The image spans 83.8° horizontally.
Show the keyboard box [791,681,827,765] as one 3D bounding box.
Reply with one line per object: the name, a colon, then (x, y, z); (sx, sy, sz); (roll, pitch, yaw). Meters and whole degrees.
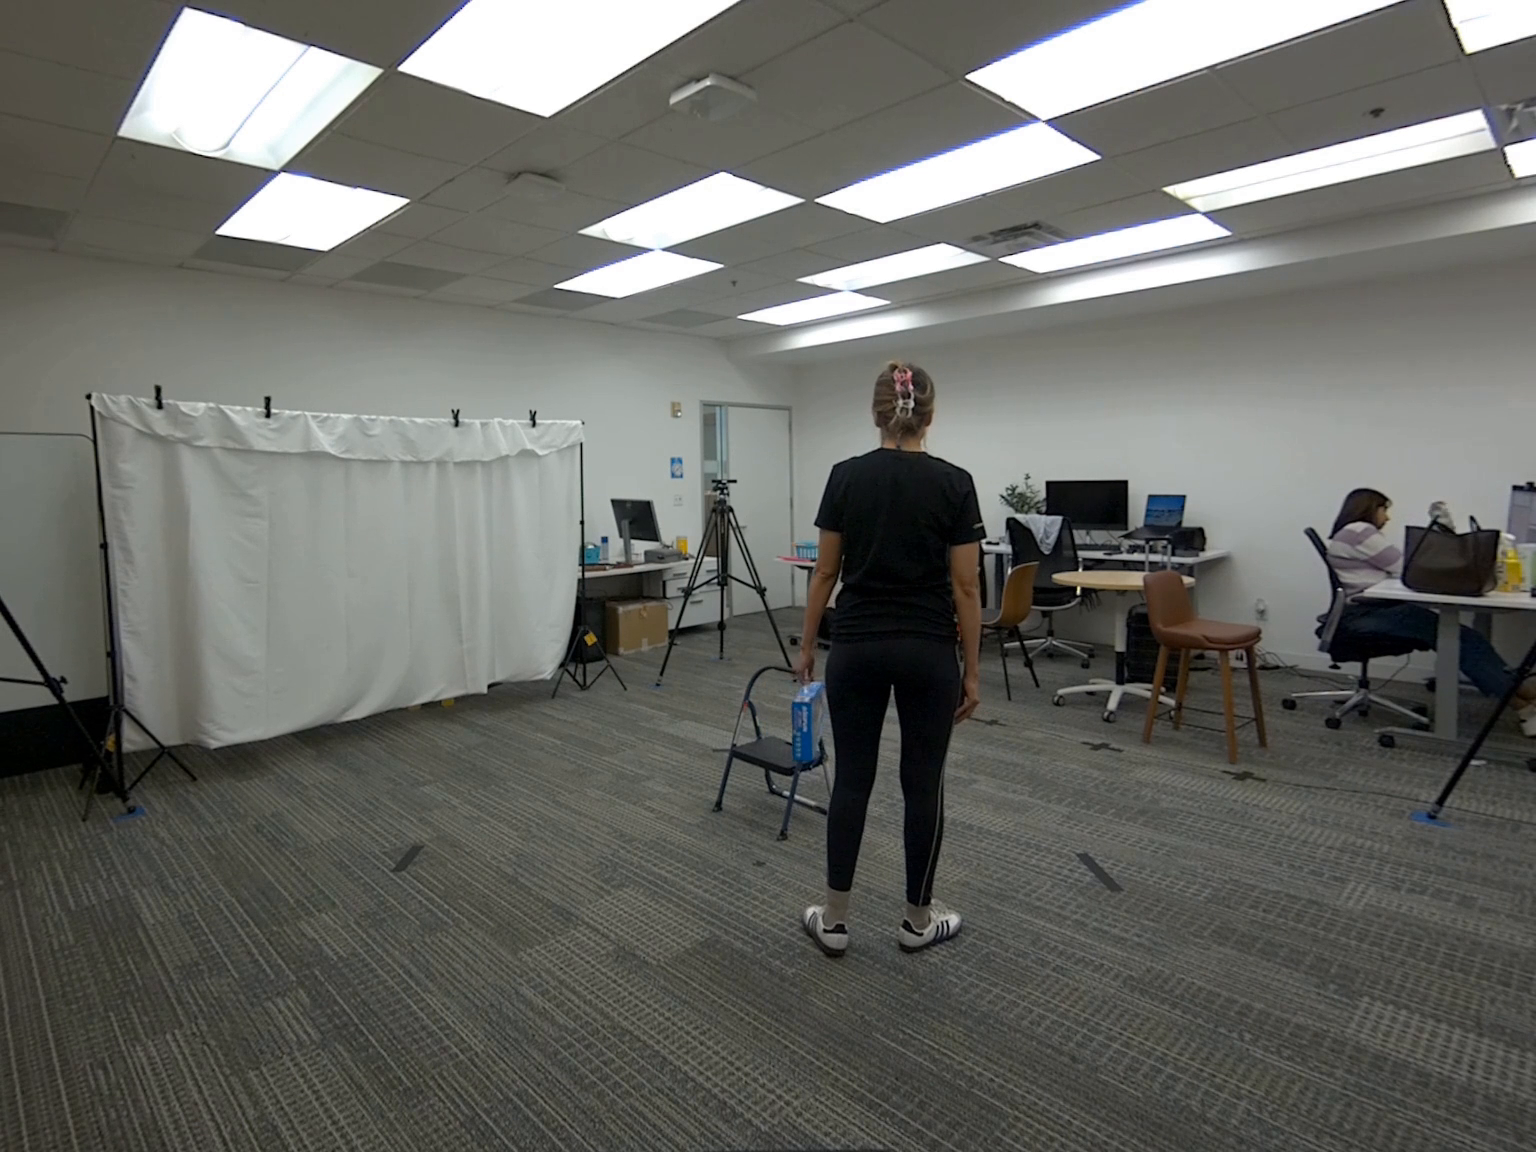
keyboard box: (0.133, 0.445, 2.690); (0.059, 0.176, 0.433); (-2, 0, 7)
